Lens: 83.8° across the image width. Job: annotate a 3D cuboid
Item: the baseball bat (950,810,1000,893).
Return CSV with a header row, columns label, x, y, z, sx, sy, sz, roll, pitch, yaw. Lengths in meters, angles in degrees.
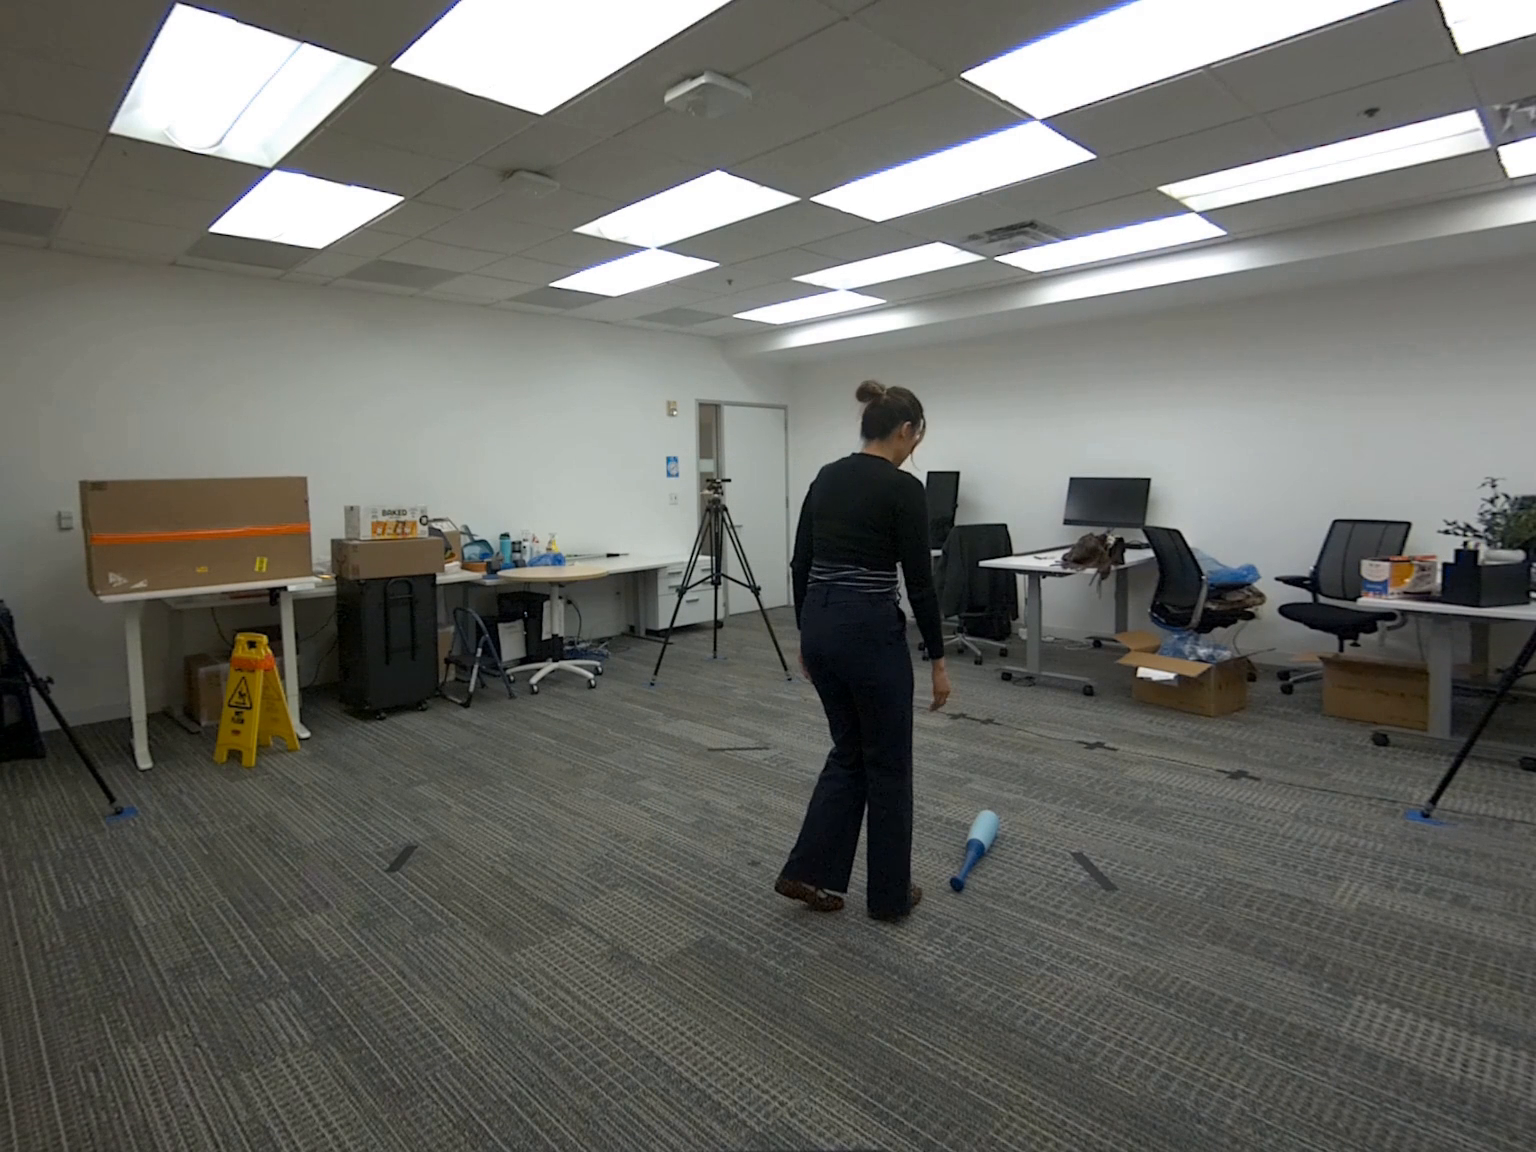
label,x,y,z,sx,sy,sz,roll,pitch,yaw
baseball bat,0.751,0.993,3.094,0.091,0.088,0.534,1,9,24
